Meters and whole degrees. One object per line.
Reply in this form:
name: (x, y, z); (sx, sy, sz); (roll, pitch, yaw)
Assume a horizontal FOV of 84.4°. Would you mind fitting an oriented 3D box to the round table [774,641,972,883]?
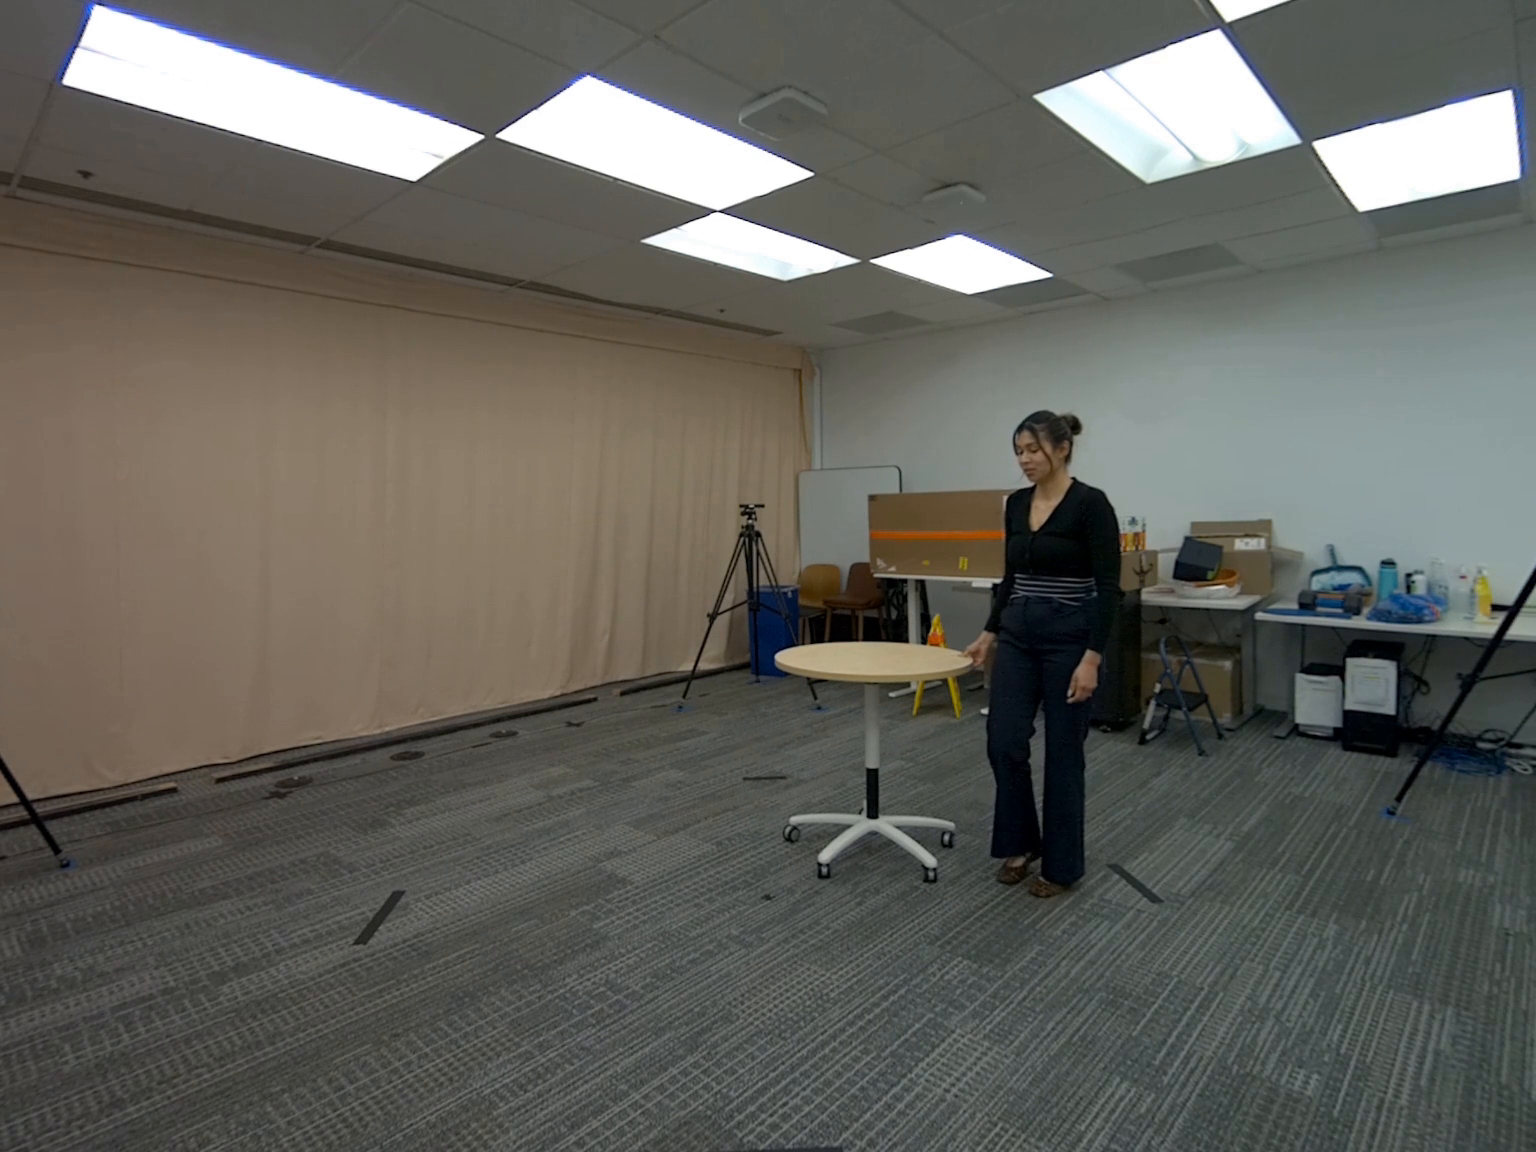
round table: (0.414, 0.713, 3.344); (0.763, 0.792, 0.766); (-1, 3, -2)
